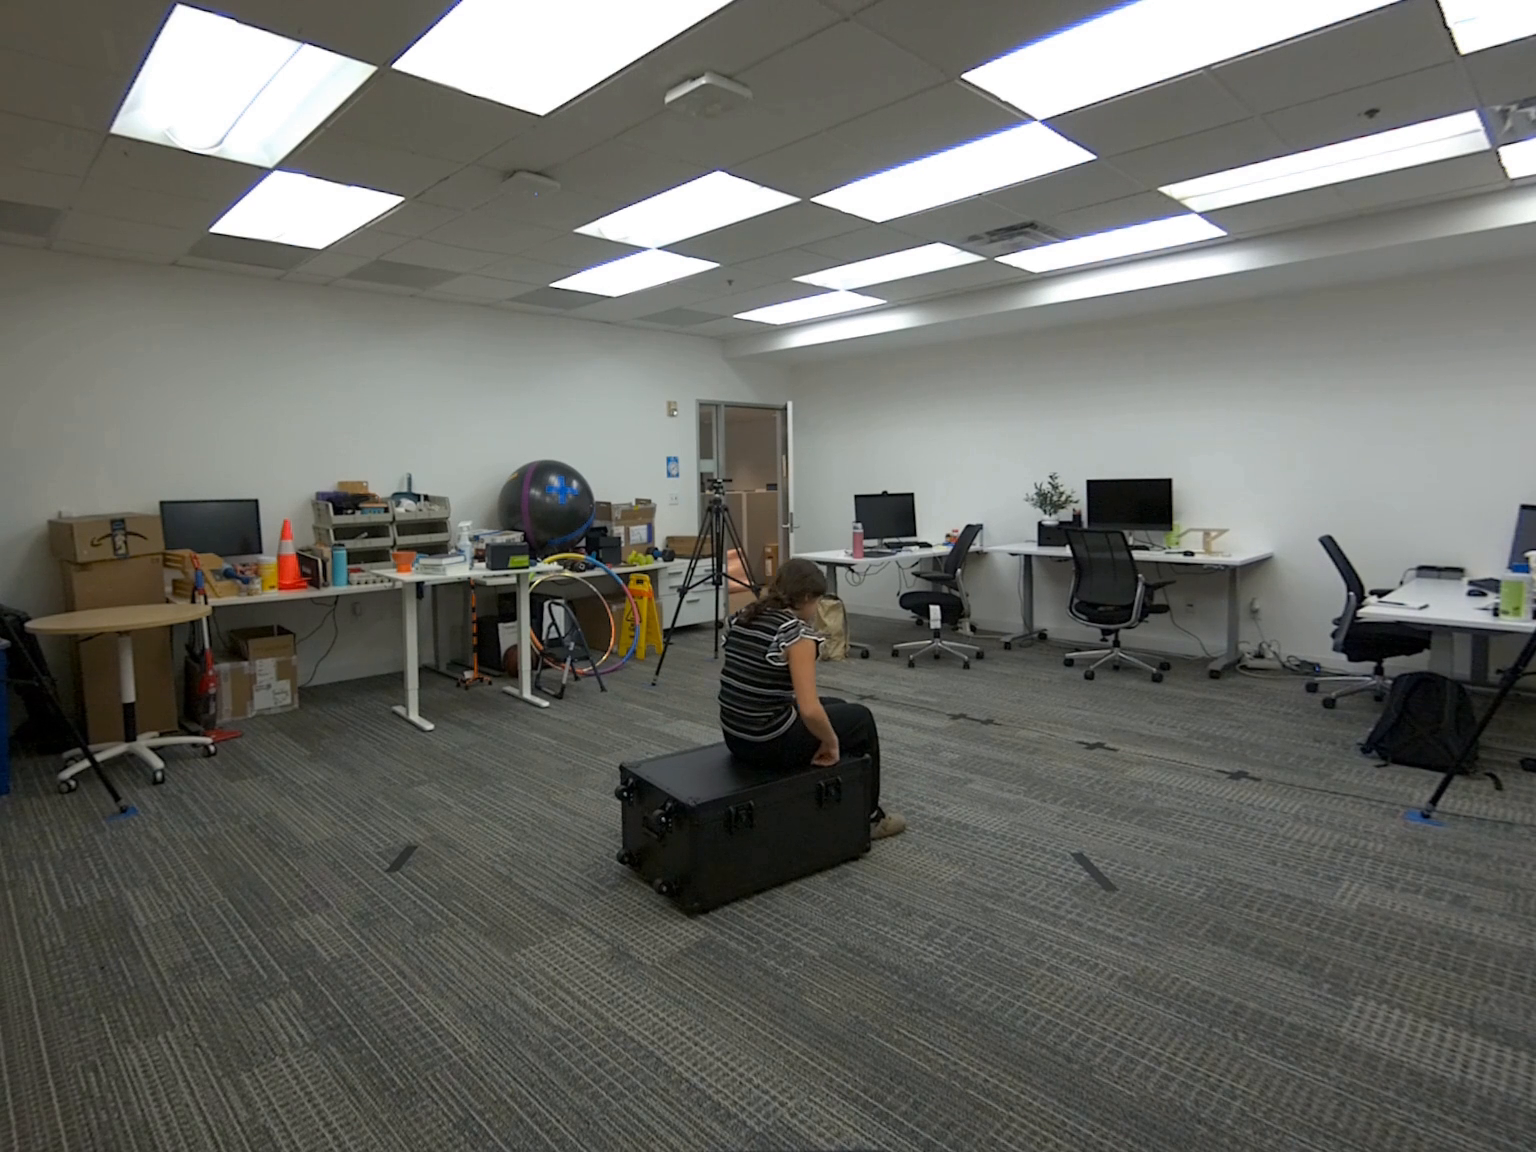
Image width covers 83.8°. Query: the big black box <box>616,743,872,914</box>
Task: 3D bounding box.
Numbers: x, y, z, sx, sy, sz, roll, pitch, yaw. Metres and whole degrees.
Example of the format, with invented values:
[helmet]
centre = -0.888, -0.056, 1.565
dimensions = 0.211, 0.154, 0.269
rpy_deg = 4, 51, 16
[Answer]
[big black box]
centre = -0.108, 0.859, 3.095
dimensions = 0.839, 0.395, 0.537
rpy_deg = -4, 6, -35
